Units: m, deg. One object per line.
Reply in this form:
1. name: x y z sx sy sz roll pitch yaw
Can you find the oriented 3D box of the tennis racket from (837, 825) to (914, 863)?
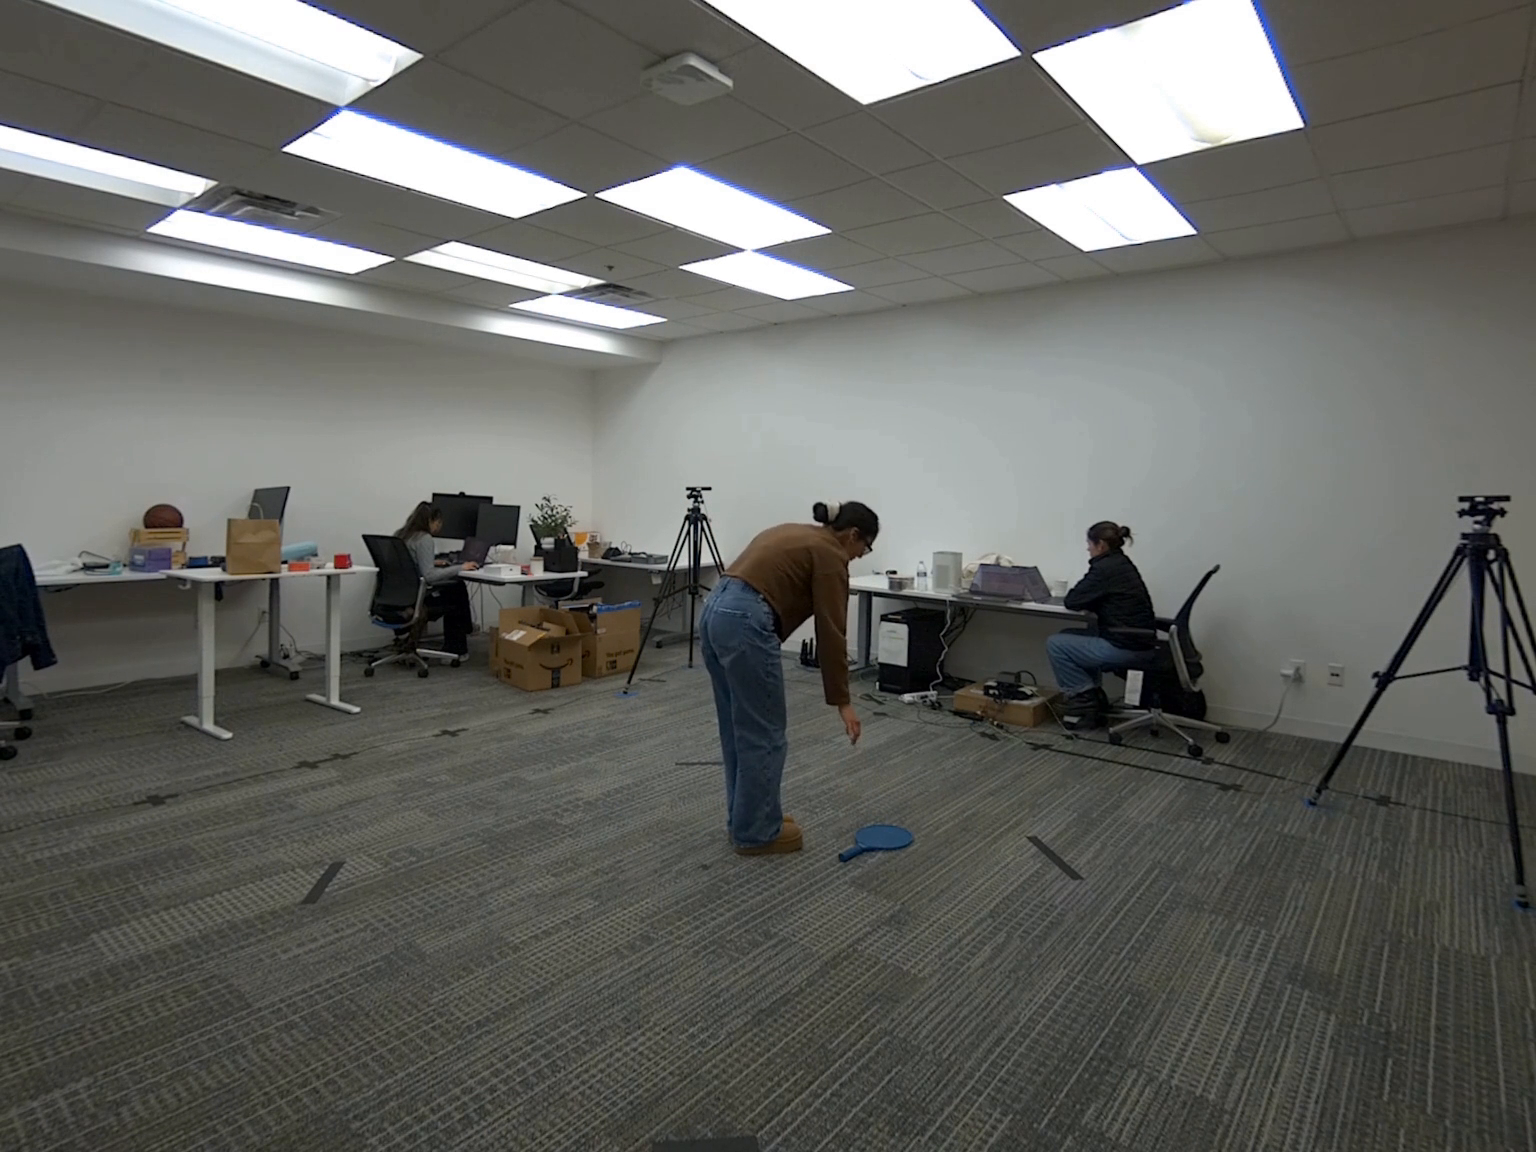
1. tennis racket: 0.402 1.044 3.344 0.221 0.031 0.420 6 6 42
